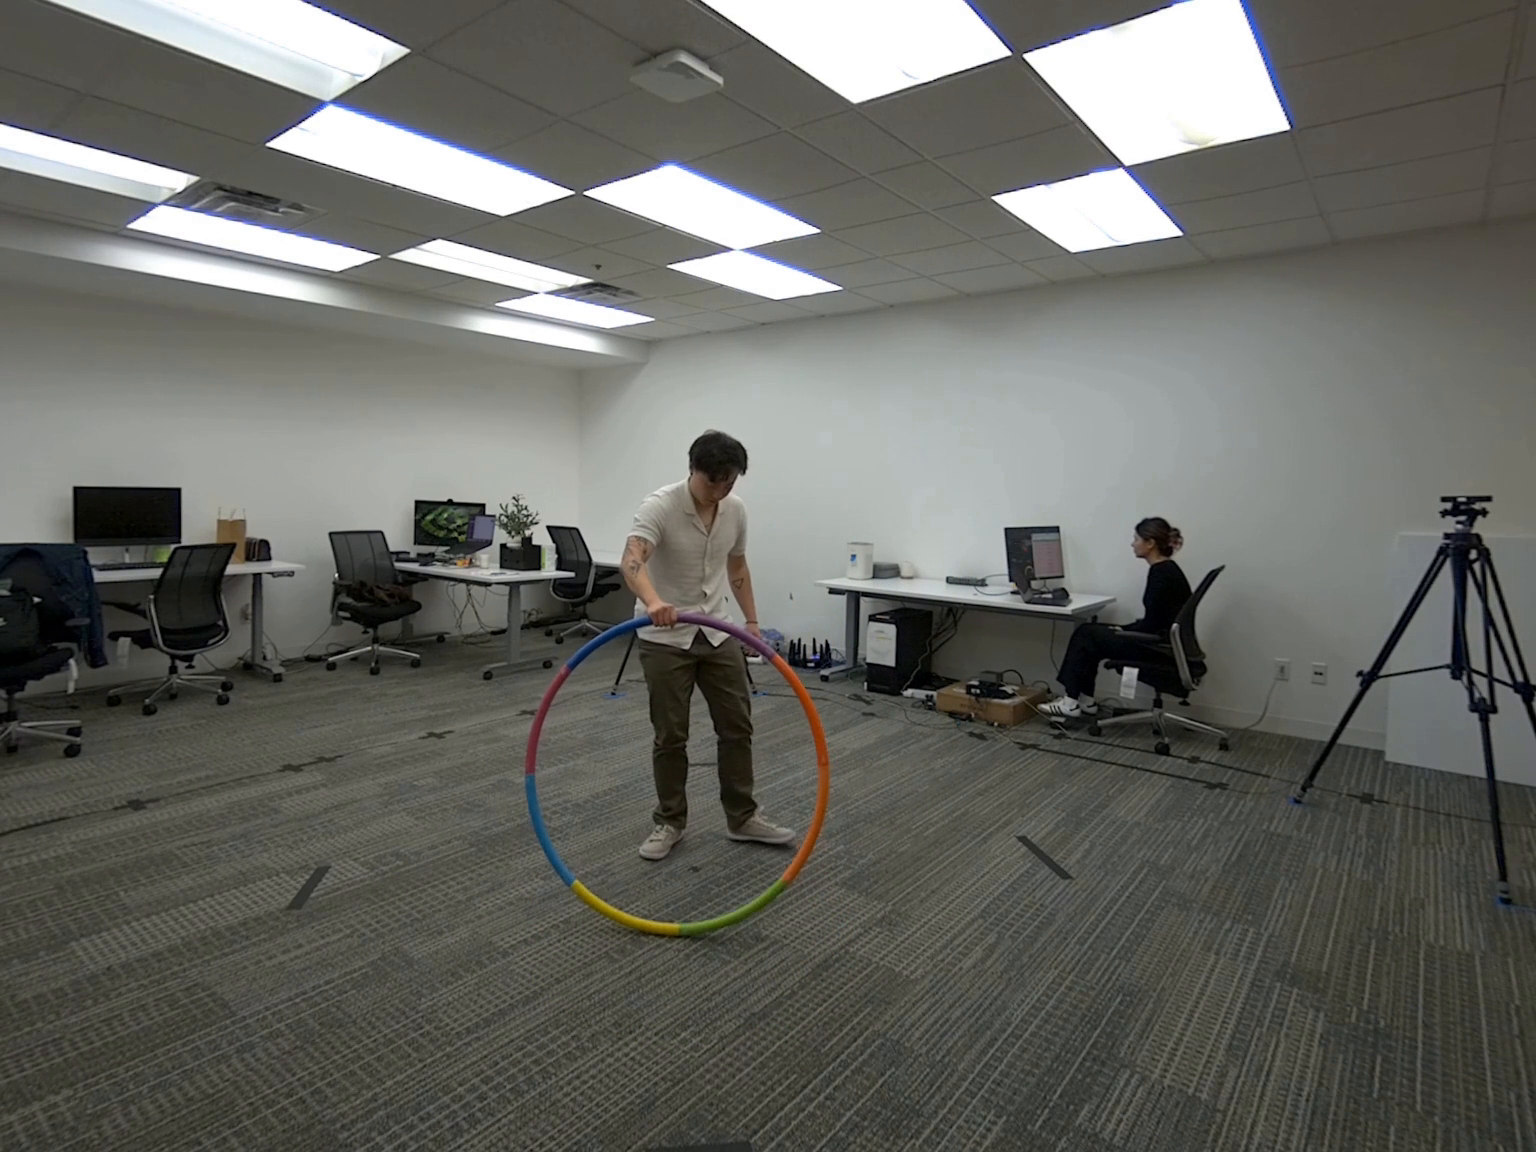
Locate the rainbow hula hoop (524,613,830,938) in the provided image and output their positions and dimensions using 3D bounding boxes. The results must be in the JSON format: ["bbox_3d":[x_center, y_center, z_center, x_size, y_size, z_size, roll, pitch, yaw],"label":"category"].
[{"bbox_3d":[-0.309,0.607,2.706,0.986,0.986,0.035,1,-8,7],"label":"rainbow hula hoop"}]
